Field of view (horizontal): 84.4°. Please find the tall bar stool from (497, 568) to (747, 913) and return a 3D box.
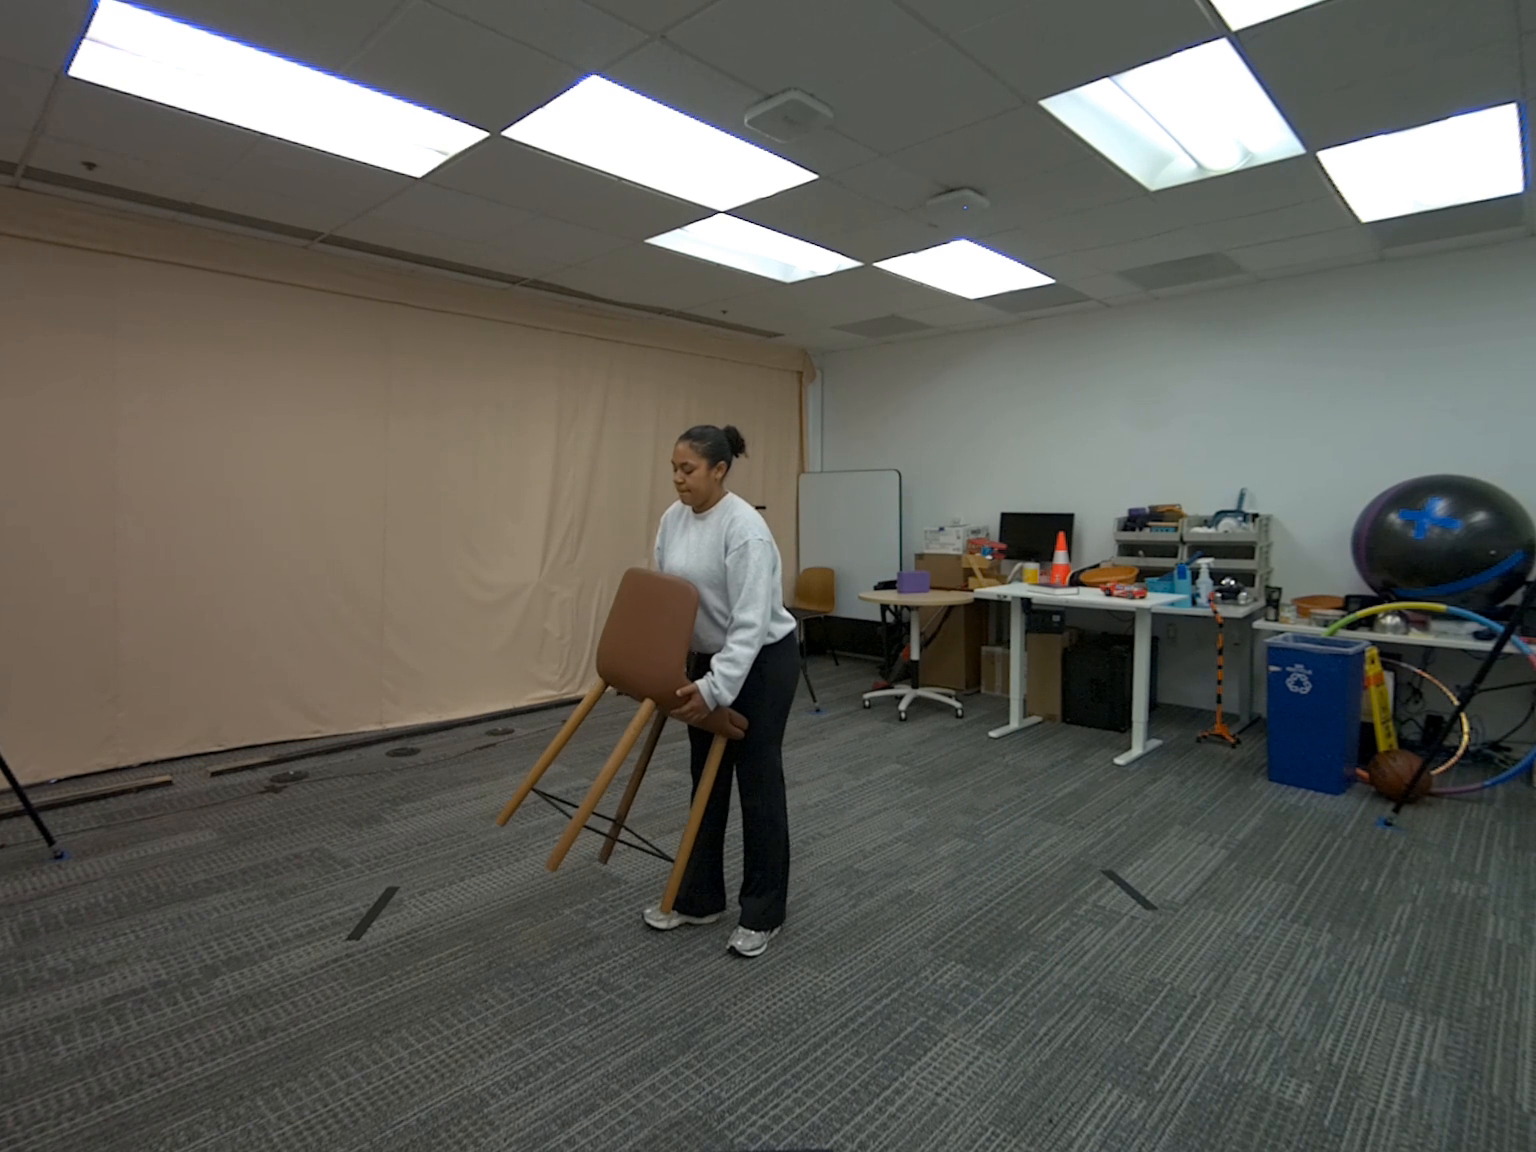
[{"bbox_3d":[-0.381,0.489,2.587,0.451,0.891,0.472,33,-15,-36],"label":"tall bar stool"}]
